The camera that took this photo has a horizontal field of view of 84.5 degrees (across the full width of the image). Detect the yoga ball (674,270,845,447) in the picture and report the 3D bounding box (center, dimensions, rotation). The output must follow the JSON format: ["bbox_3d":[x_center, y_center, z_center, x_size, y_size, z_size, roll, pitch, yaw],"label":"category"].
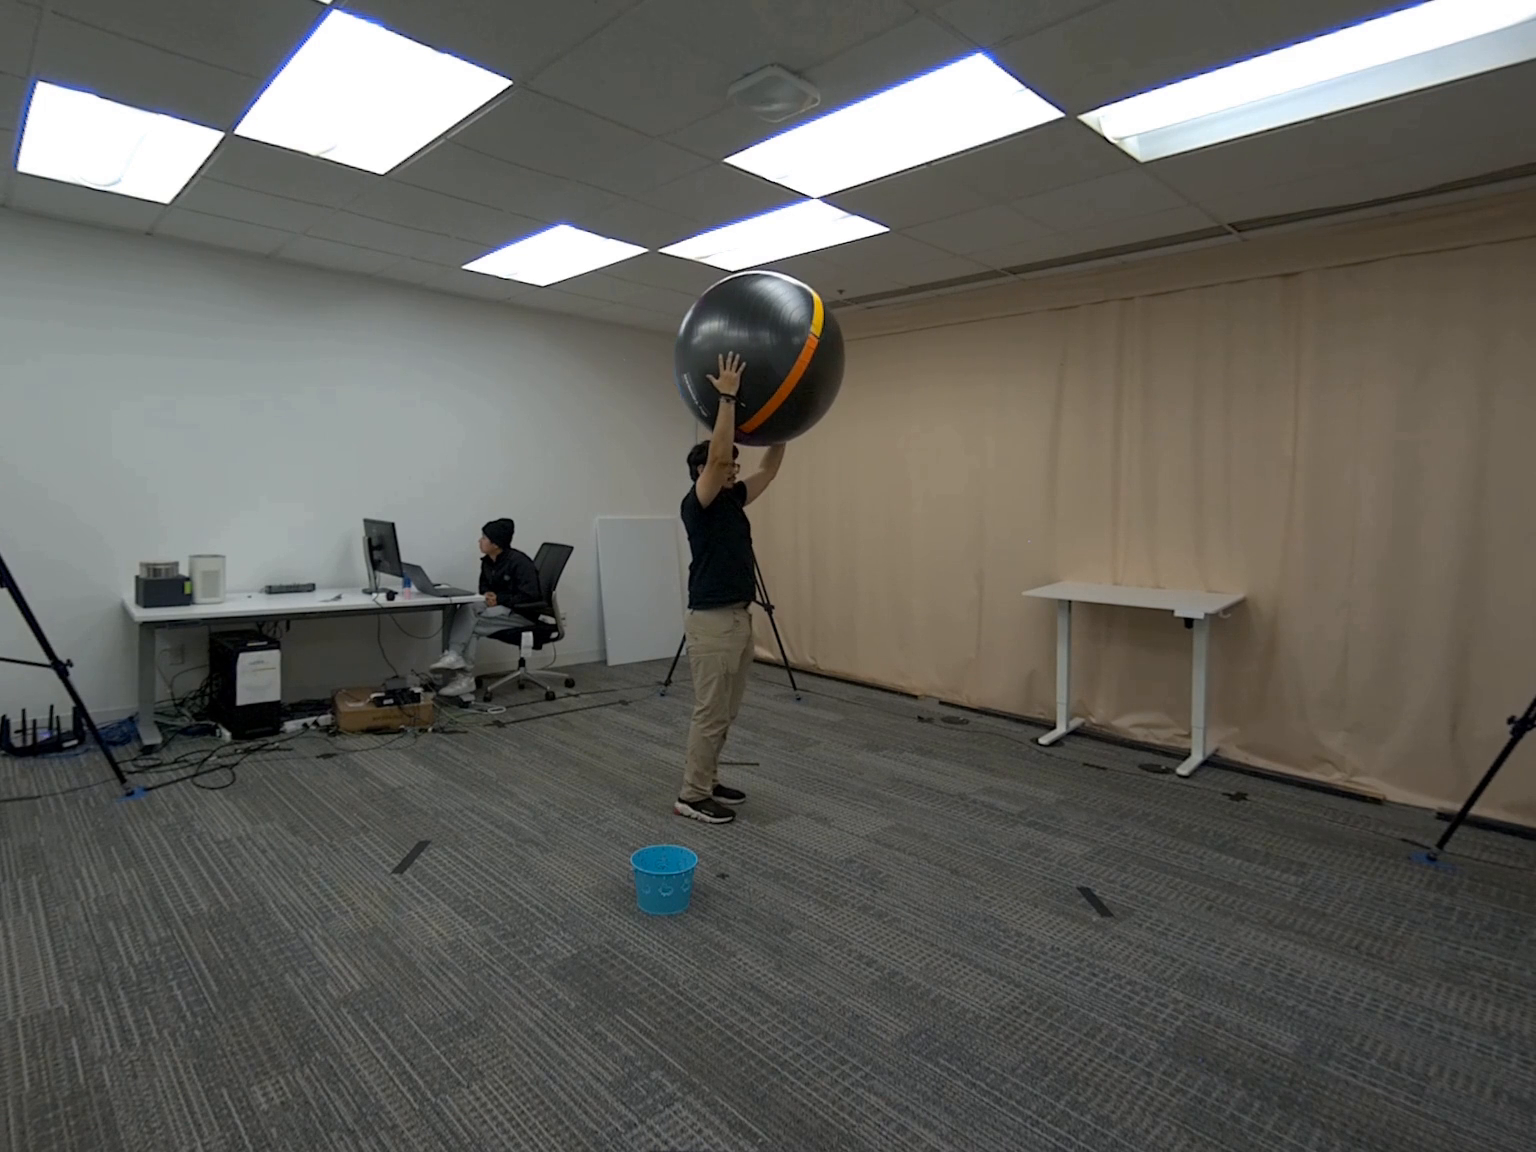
[{"bbox_3d":[-0.042,-0.950,3.739,0.757,0.756,0.761,1,4,-1],"label":"yoga ball"}]
